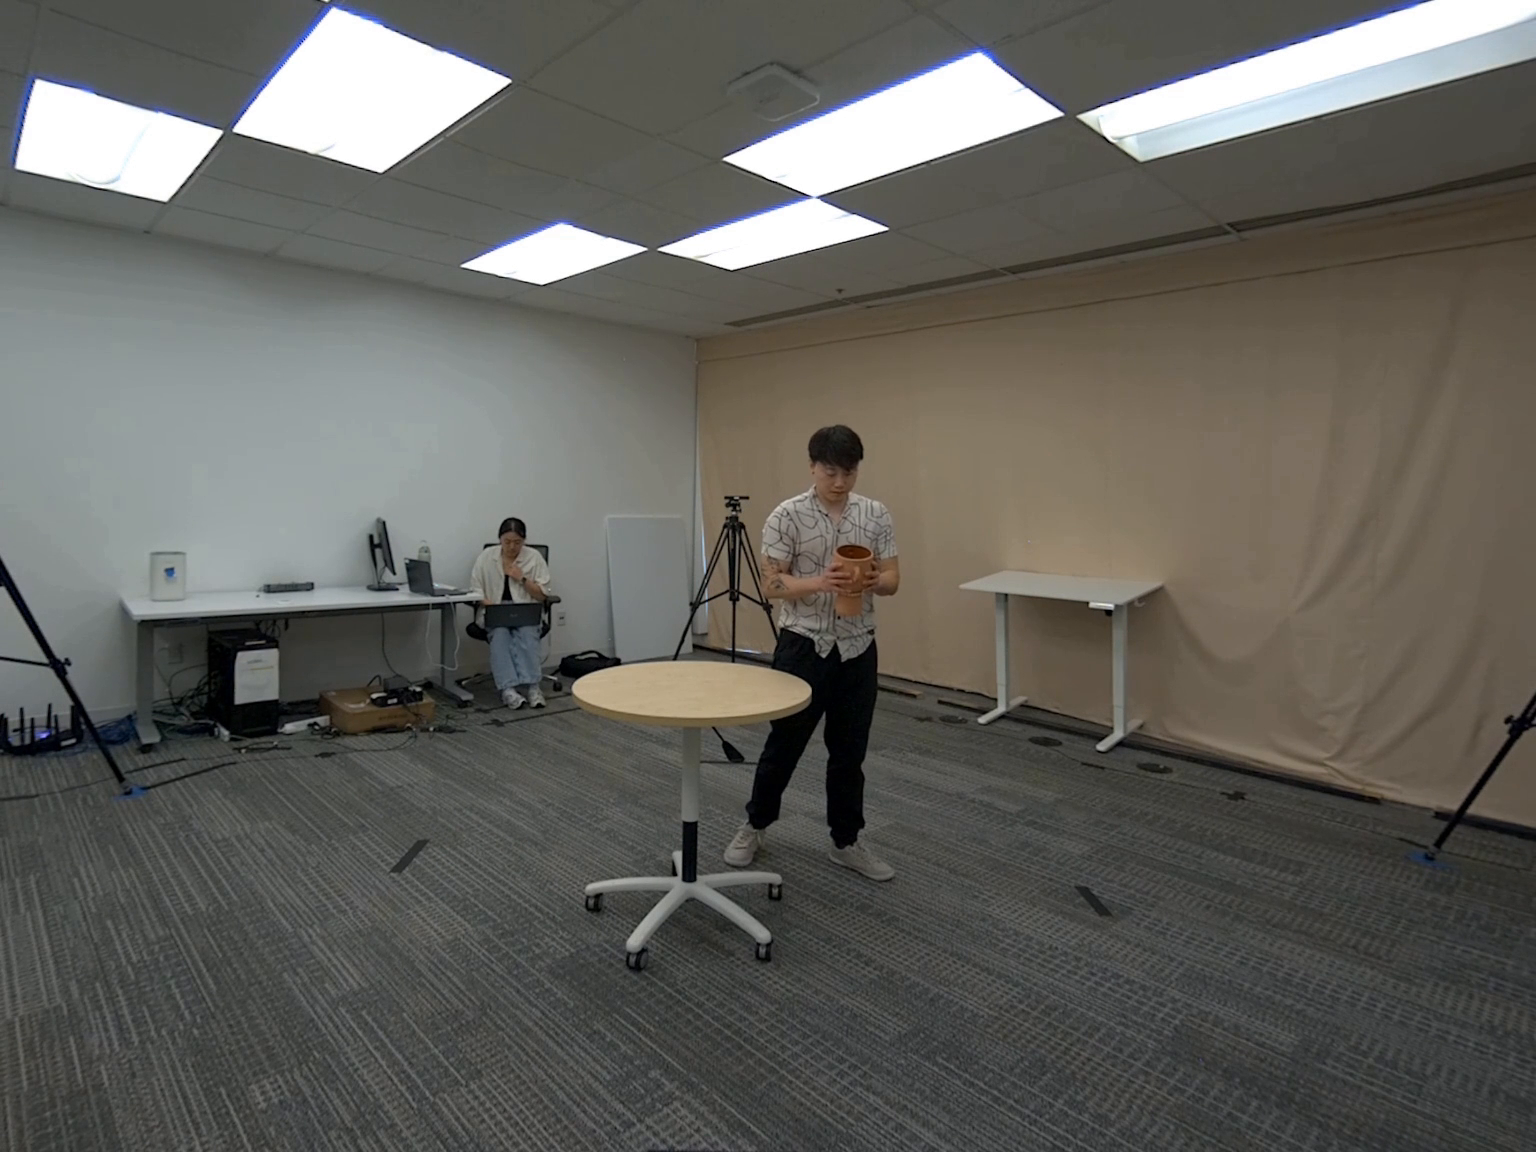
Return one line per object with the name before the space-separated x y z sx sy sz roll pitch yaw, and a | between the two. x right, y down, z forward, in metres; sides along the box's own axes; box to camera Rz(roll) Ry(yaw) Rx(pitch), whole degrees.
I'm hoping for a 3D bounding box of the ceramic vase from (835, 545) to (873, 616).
ceramic vase | 0.267 0.018 2.884 0.138 0.216 0.157 19 31 32
